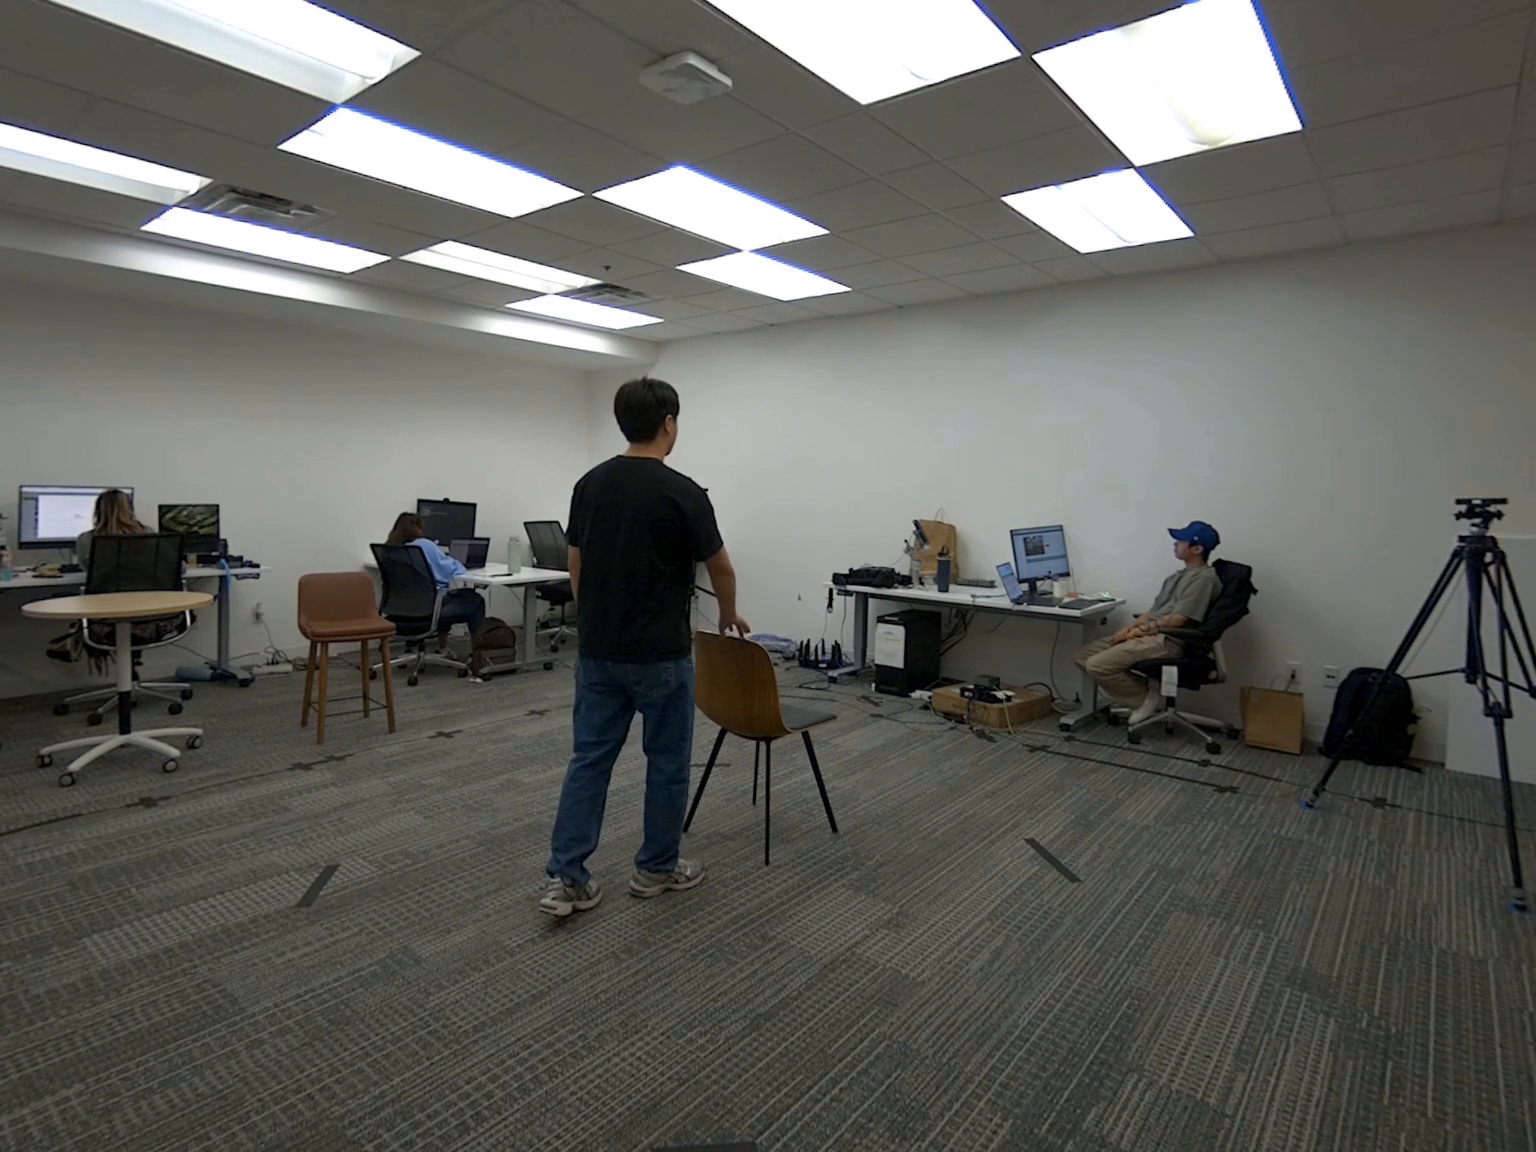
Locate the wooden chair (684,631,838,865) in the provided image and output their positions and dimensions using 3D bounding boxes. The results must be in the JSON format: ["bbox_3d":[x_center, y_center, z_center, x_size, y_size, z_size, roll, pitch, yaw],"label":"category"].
[{"bbox_3d":[-0.027,0.612,3.443,0.494,0.872,0.509,4,8,41],"label":"wooden chair"}]
